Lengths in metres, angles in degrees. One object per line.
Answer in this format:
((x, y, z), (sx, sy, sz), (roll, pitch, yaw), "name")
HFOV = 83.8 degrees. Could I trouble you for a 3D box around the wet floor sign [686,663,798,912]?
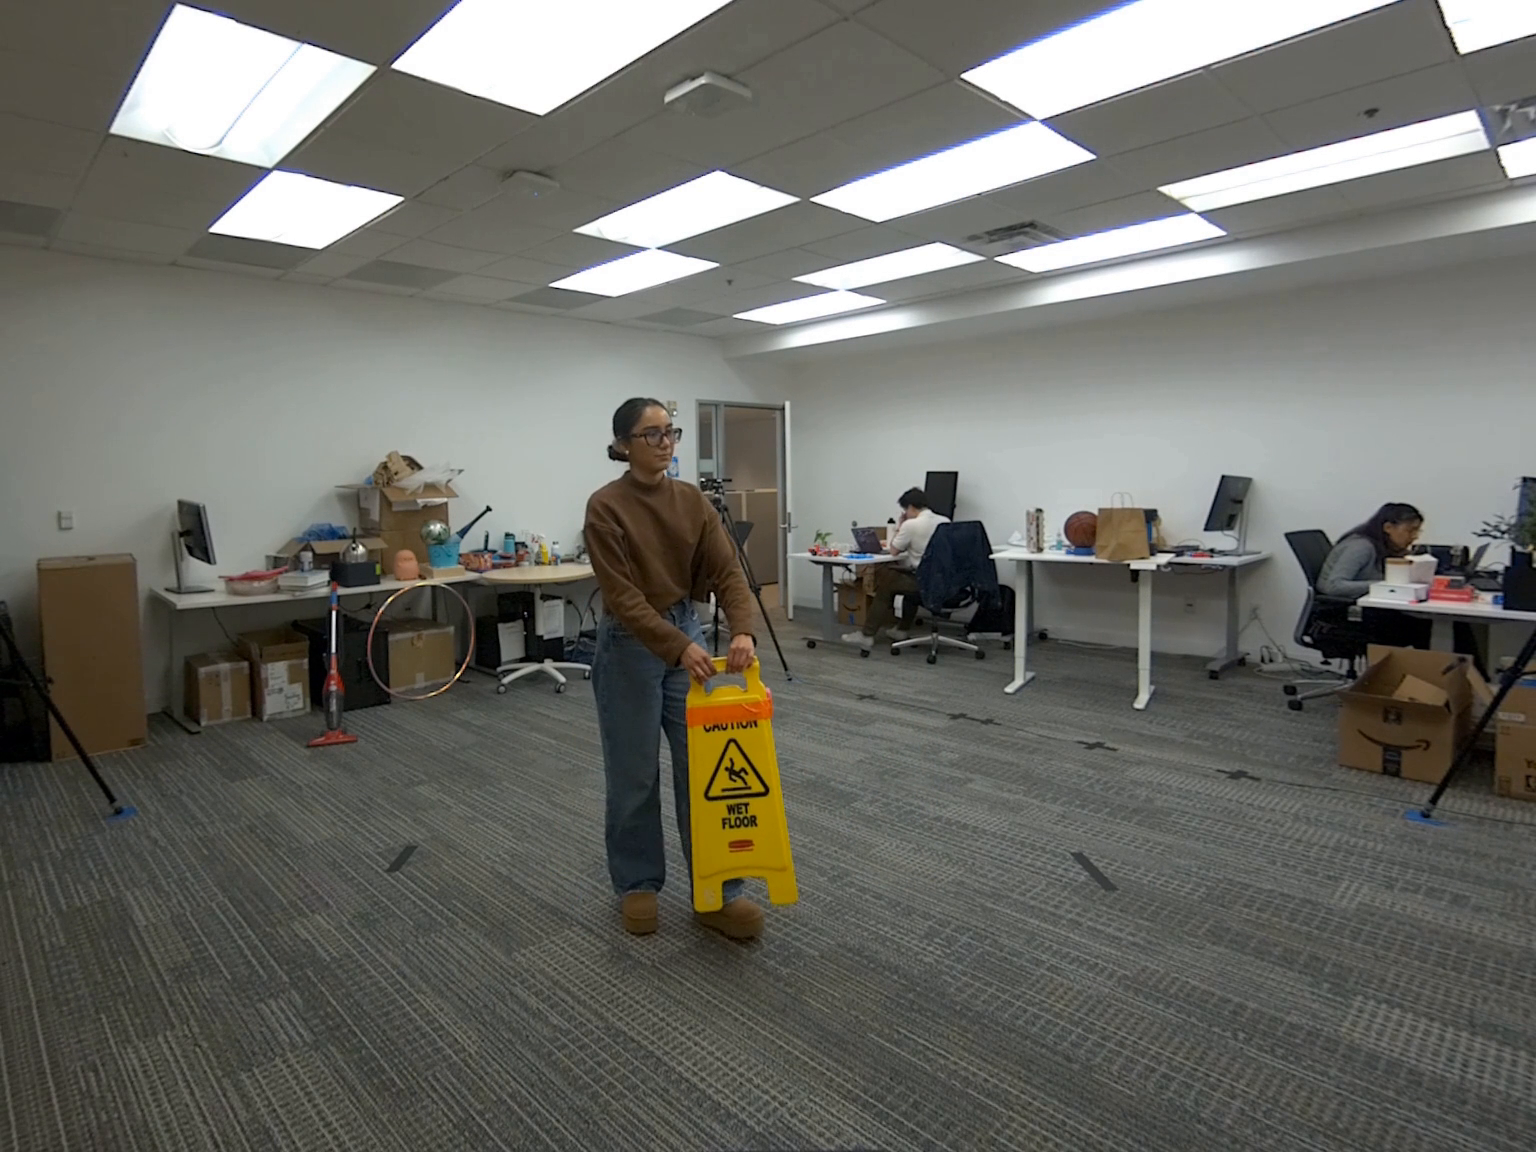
((-0.092, 0.560, 2.404), (0.281, 0.646, 0.290), (-6, 1, -3), "wet floor sign")
